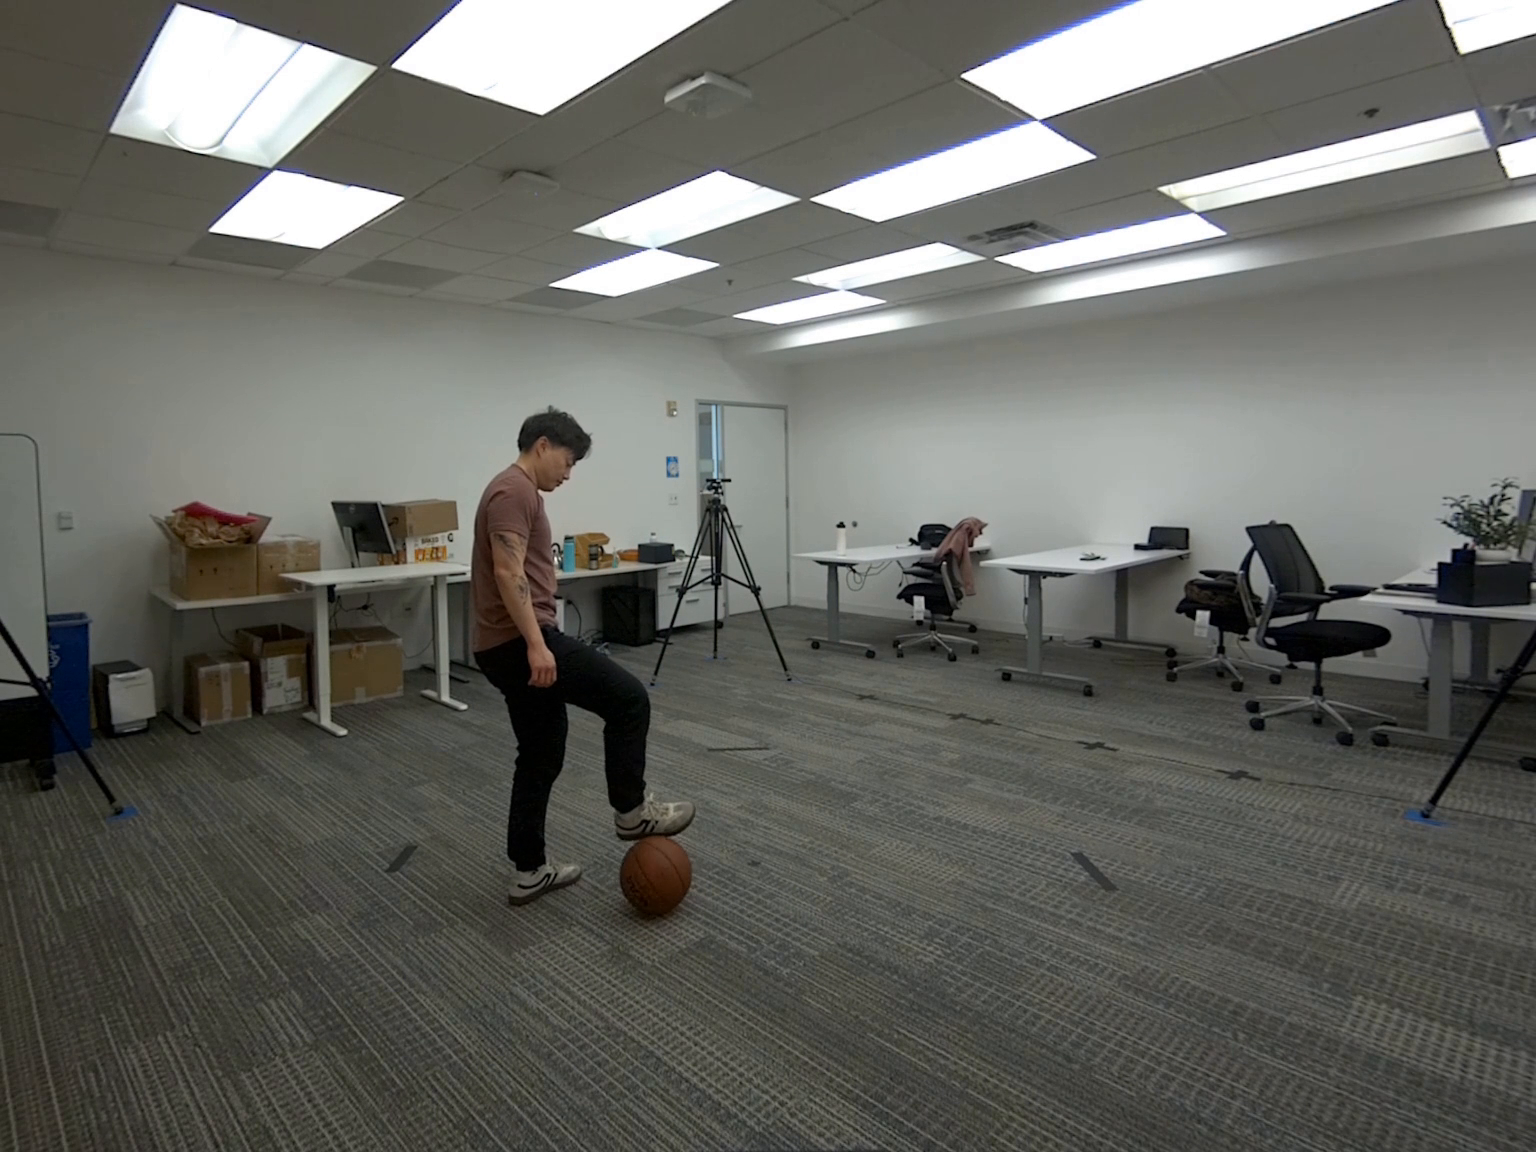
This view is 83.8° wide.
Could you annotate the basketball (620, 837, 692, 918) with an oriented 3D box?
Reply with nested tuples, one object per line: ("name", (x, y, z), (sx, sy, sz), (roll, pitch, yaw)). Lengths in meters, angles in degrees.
("basketball", (-0.362, 0.971, 2.775), (0.236, 0.235, 0.237), (-1, 5, -2))
